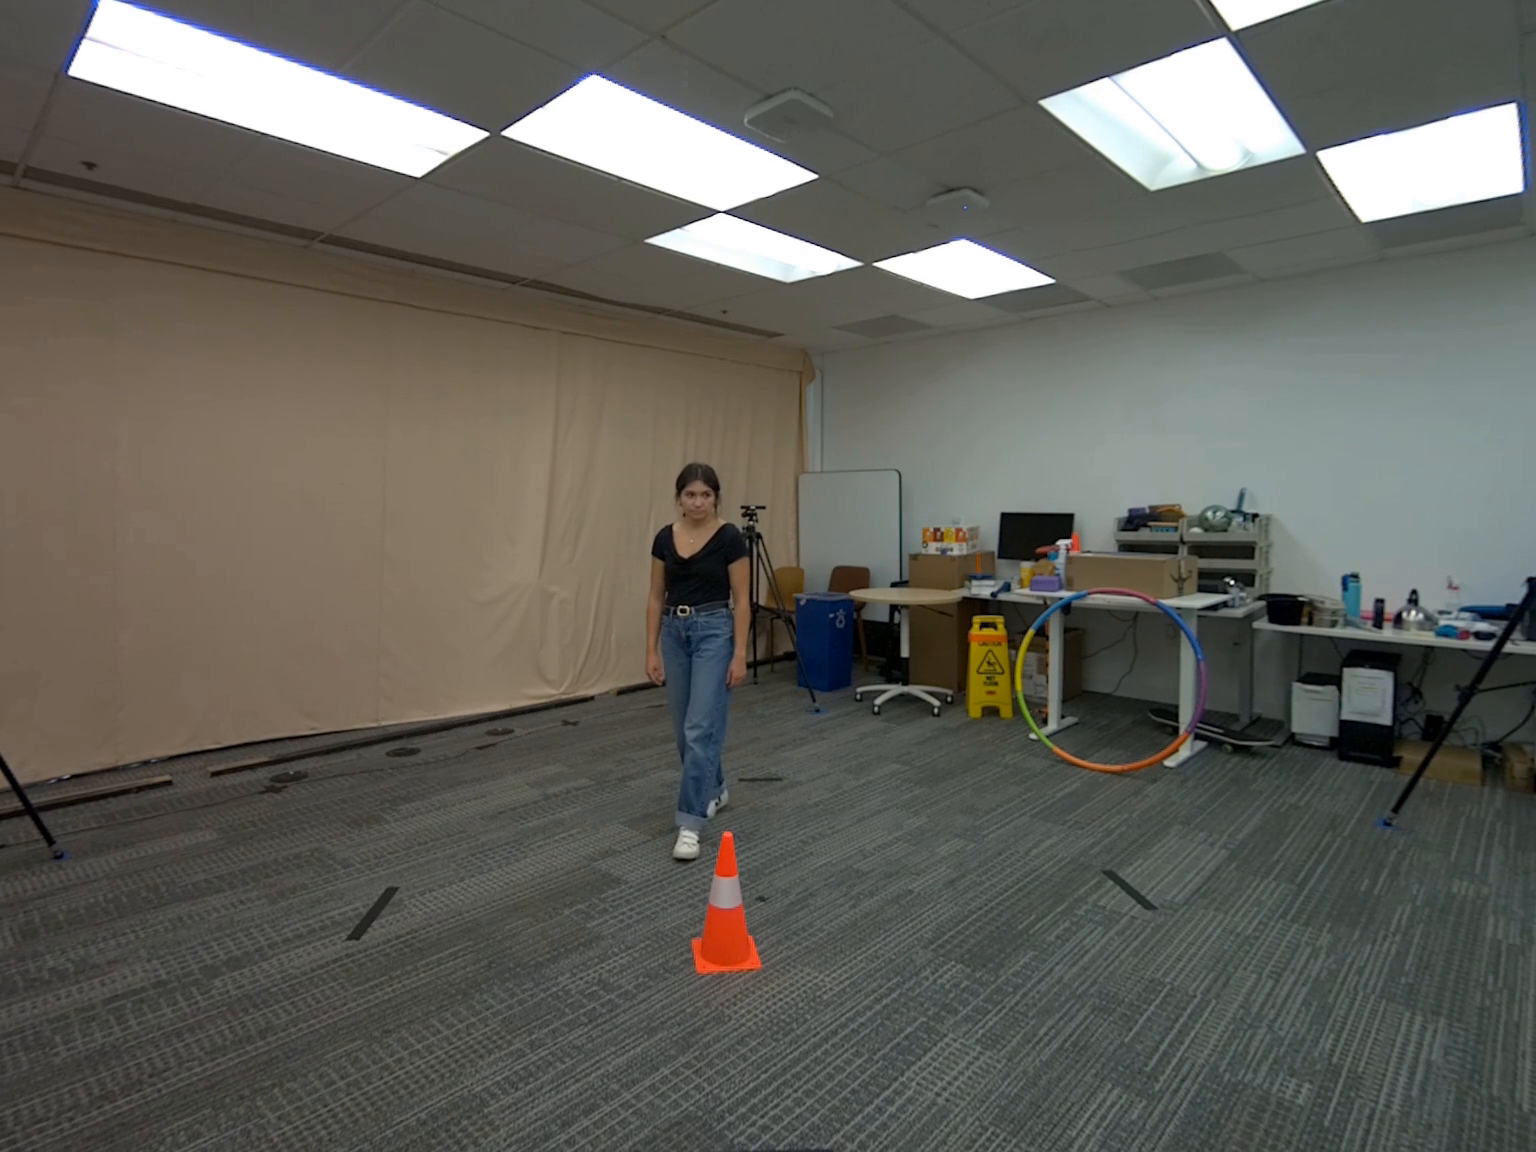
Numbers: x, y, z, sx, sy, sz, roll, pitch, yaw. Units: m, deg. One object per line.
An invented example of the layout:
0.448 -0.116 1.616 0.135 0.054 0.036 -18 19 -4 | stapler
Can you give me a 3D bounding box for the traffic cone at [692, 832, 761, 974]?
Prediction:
-0.124 0.988 2.615 0.201 0.383 0.207 1 1 -10 | traffic cone
